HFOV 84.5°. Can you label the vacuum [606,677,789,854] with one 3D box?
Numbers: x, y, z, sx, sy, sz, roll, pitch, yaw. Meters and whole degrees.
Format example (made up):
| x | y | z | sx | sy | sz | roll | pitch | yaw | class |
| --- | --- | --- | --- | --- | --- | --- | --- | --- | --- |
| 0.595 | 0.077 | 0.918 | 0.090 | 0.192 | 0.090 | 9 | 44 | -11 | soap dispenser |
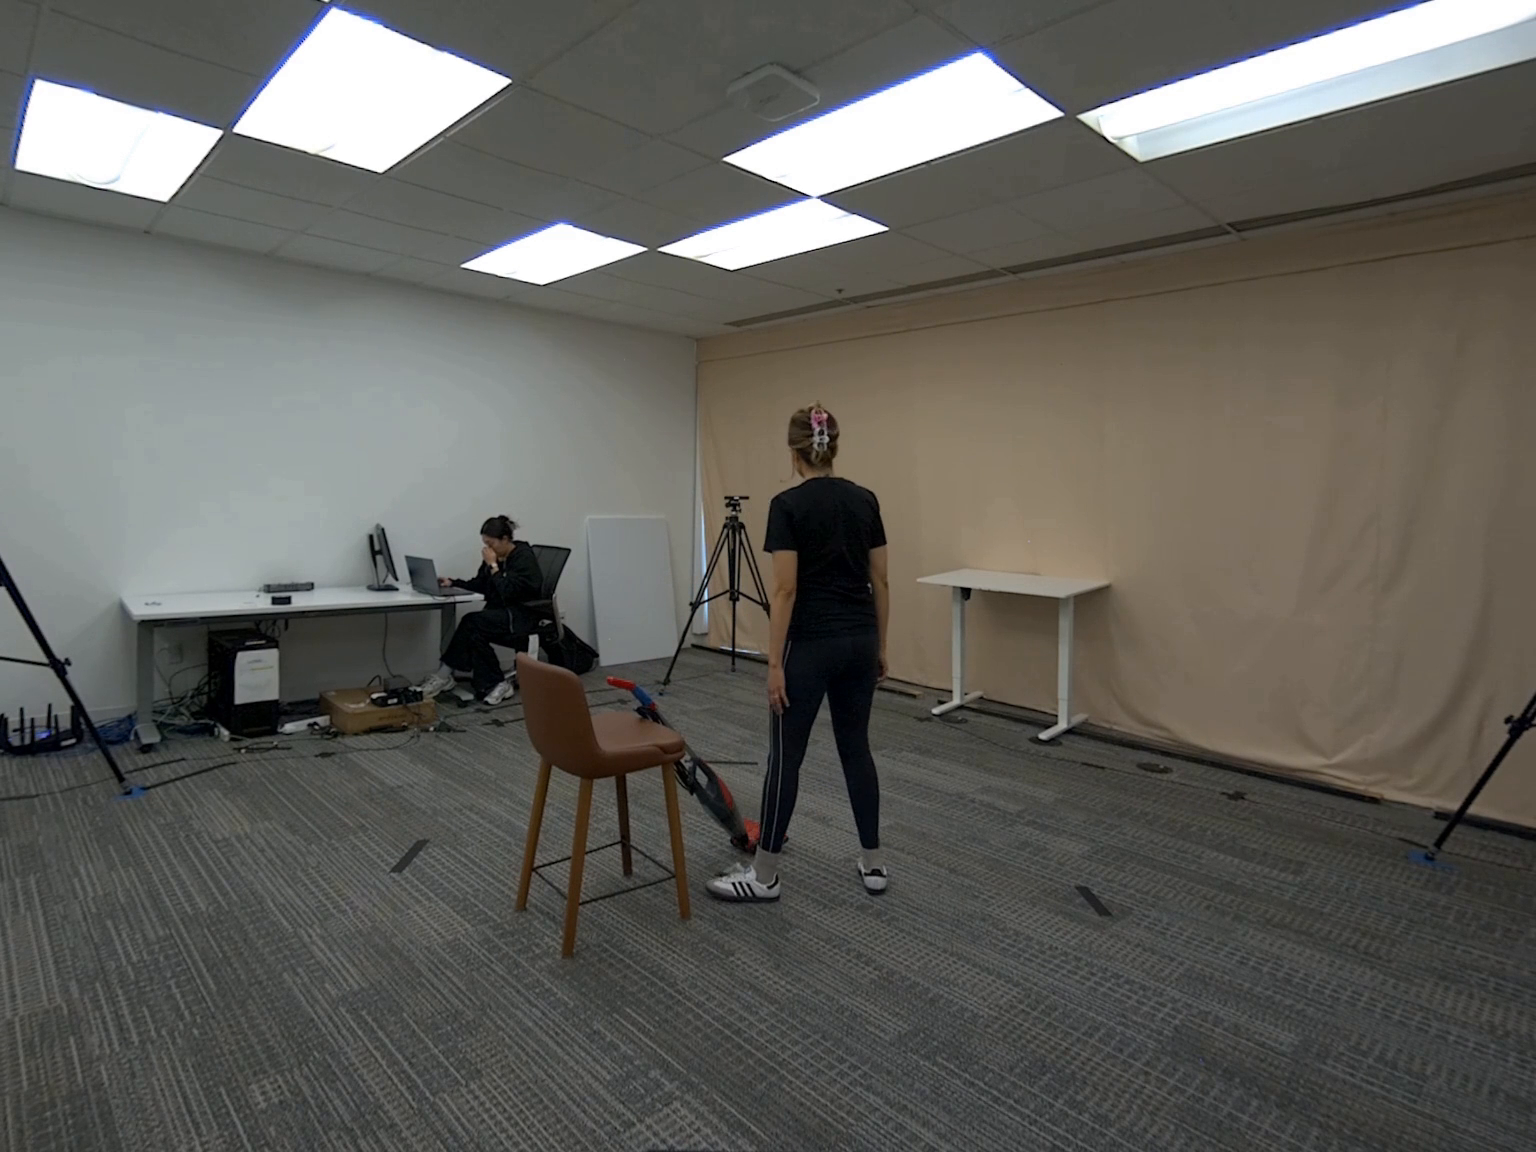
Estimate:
| x | y | z | sx | sy | sz | roll | pitch | yaw | class |
| --- | --- | --- | --- | --- | --- | --- | --- | --- | --- |
| -0.294 | 0.706 | 3.098 | 0.259 | 1.019 | 0.144 | 3 | 48 | 42 | vacuum |
